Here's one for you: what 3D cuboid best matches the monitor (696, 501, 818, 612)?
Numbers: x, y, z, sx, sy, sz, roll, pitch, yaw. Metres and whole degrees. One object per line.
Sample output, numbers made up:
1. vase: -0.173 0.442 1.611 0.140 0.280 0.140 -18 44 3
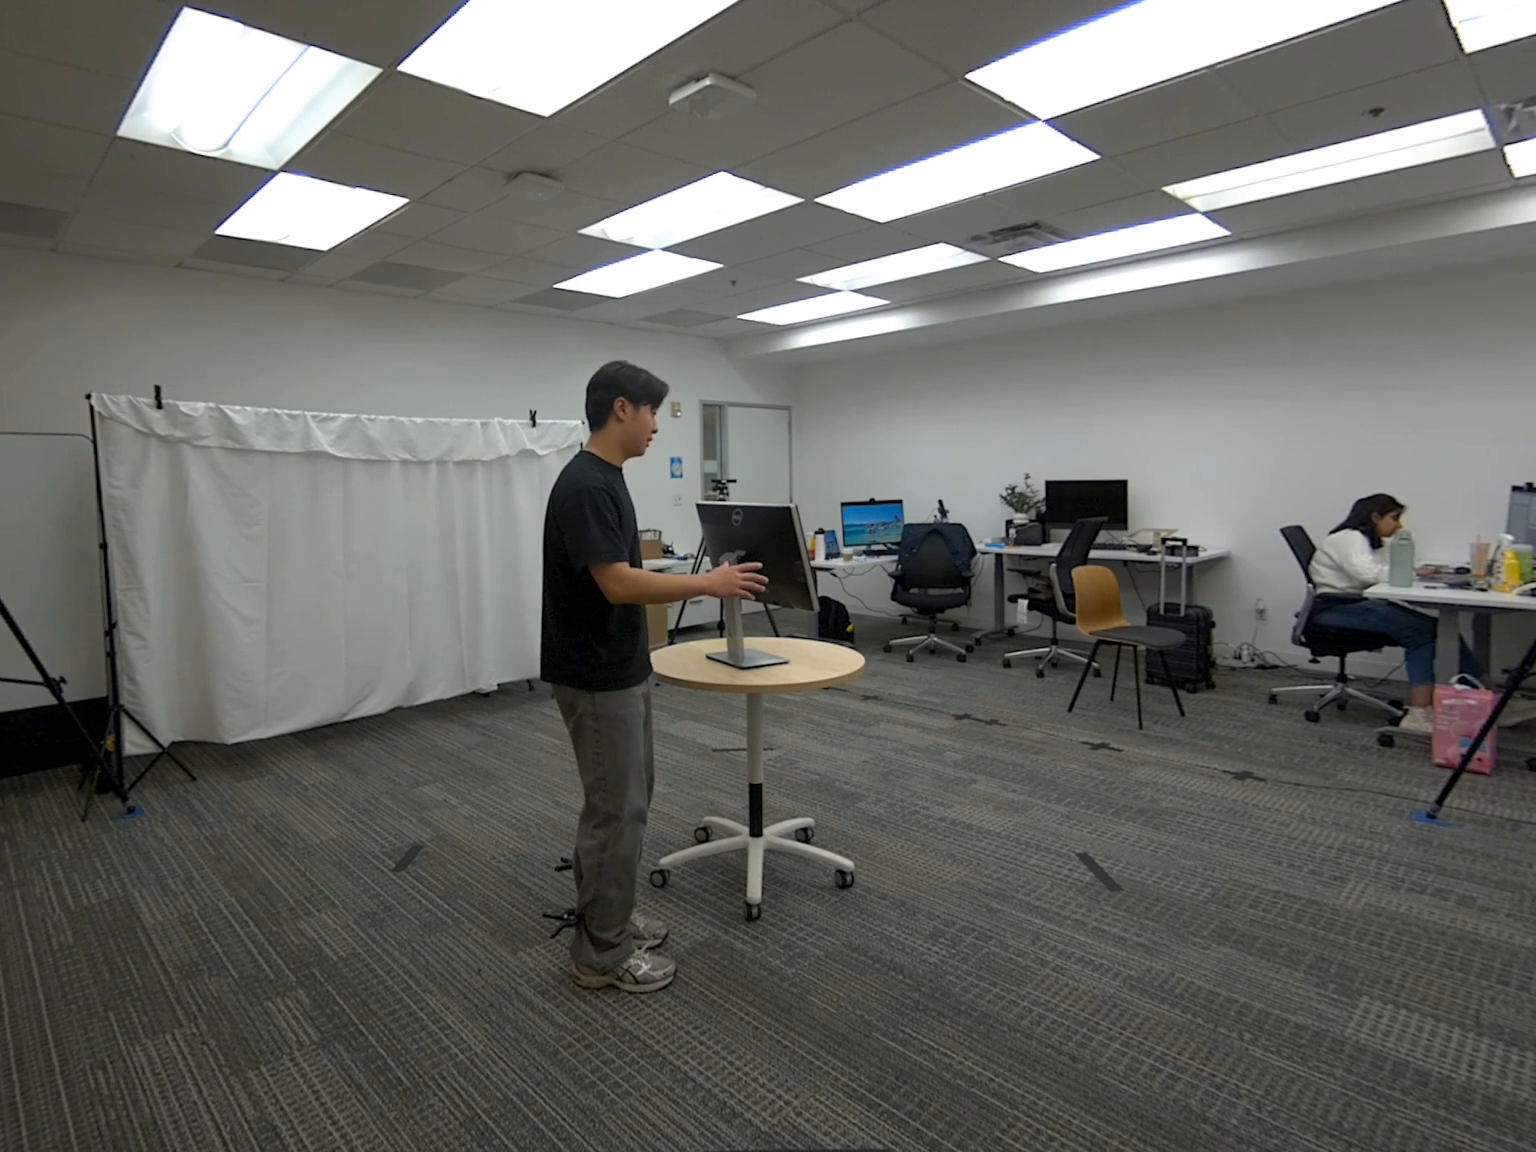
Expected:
1. monitor: -0.067 0.029 2.933 0.216 0.564 0.578 -2 5 -33
